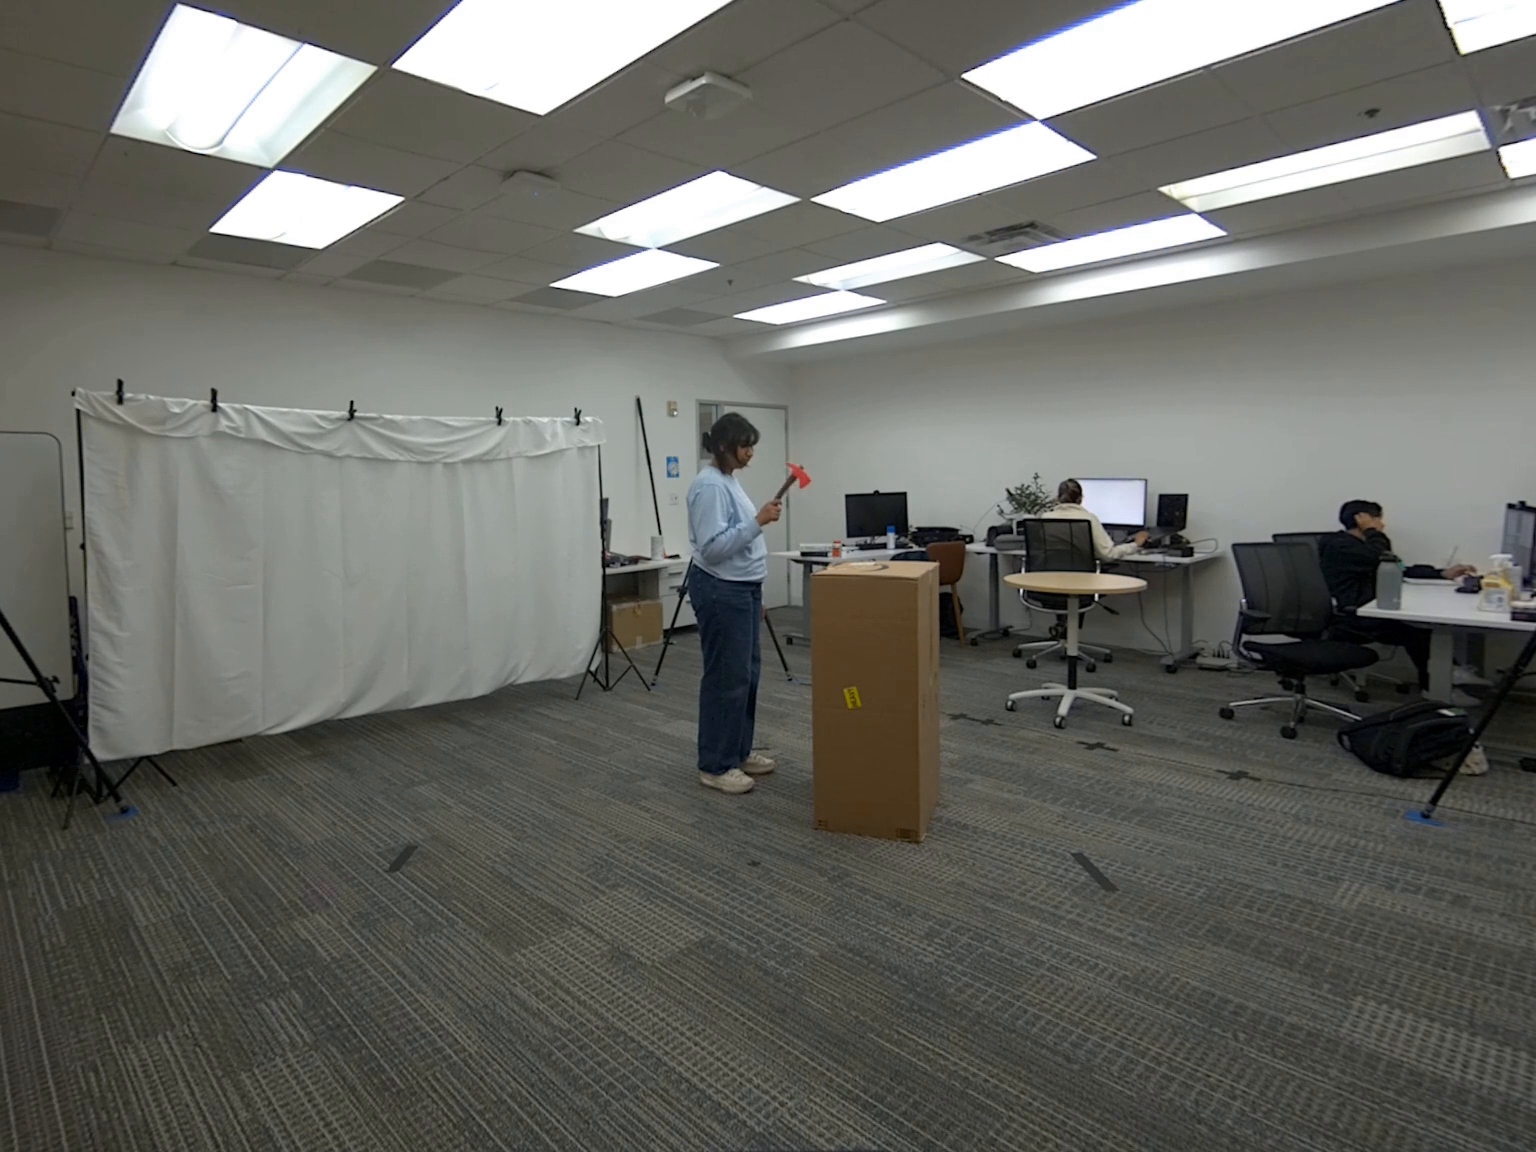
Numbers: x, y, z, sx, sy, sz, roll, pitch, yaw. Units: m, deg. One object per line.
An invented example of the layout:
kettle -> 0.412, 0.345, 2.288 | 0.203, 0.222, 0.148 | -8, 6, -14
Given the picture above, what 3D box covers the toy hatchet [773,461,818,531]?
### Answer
toy hatchet -> 0.100, -0.346, 3.702 | 0.132, 0.270, 0.029 | 22, 3, 6
